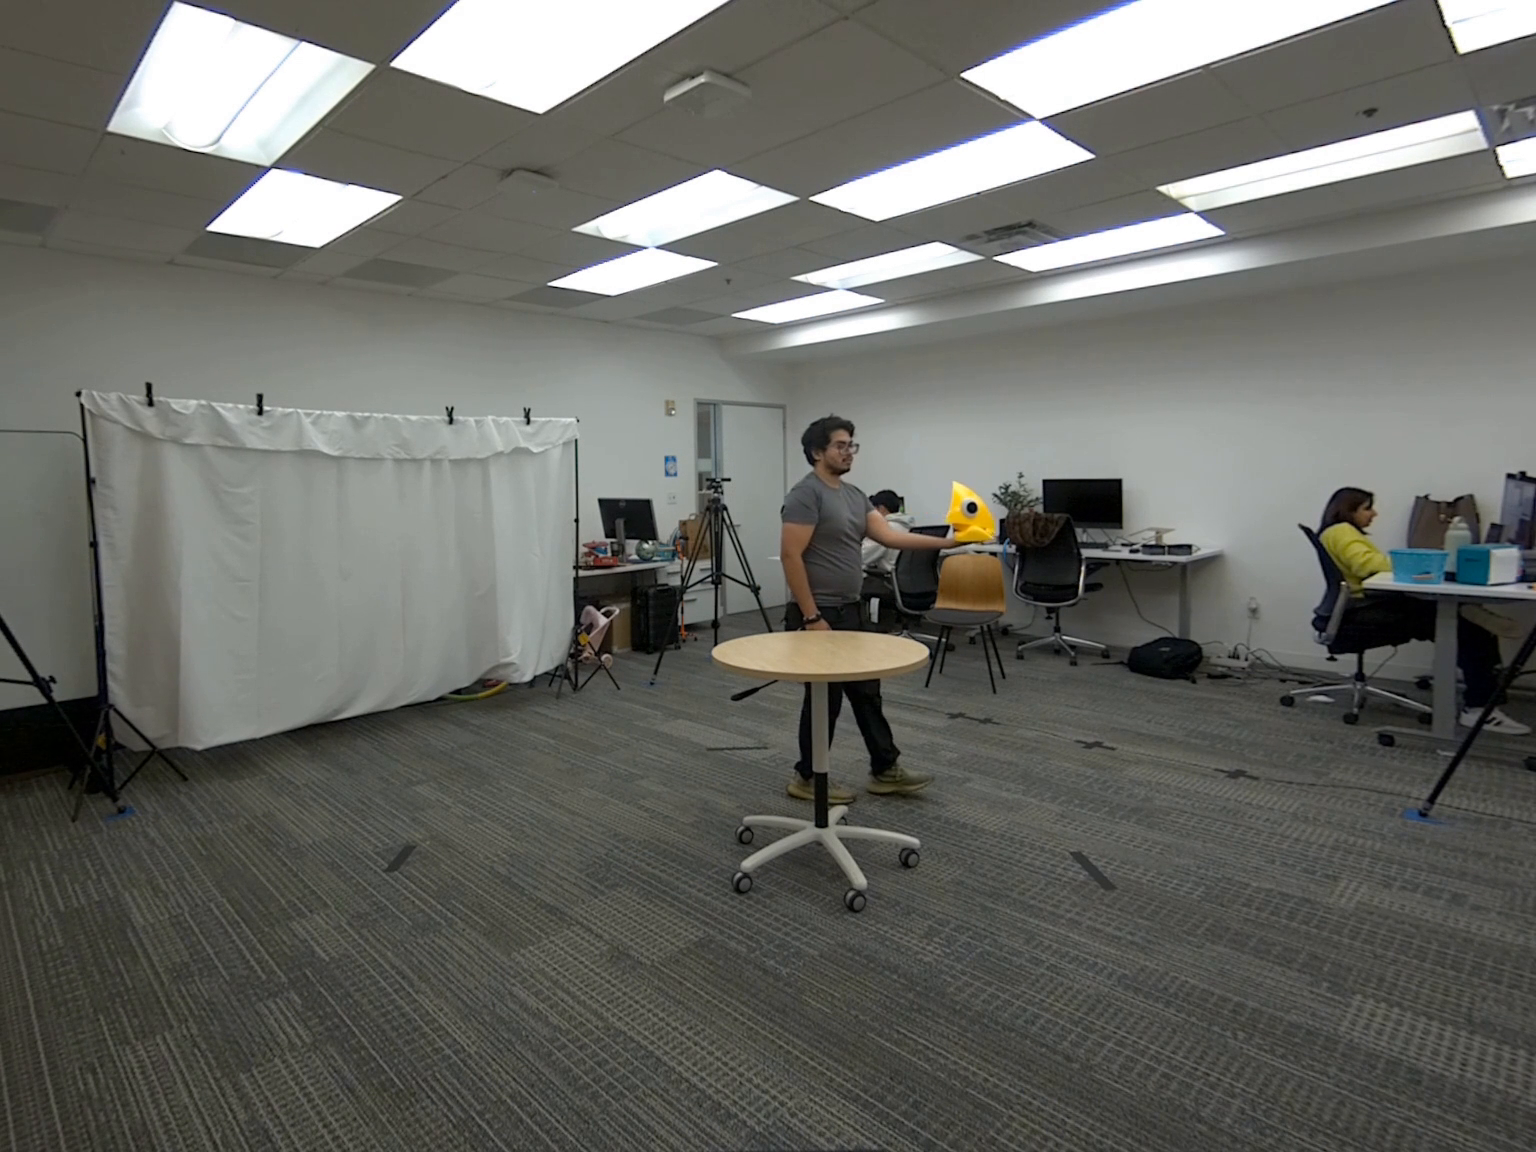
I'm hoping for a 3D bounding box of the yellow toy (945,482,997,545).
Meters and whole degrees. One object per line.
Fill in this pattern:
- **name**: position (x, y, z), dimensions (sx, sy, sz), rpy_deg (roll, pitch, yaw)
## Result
- **yellow toy**: position (0.826, -0.271, 3.454), dimensions (0.197, 0.229, 0.202), rpy_deg (-2, 9, 21)
